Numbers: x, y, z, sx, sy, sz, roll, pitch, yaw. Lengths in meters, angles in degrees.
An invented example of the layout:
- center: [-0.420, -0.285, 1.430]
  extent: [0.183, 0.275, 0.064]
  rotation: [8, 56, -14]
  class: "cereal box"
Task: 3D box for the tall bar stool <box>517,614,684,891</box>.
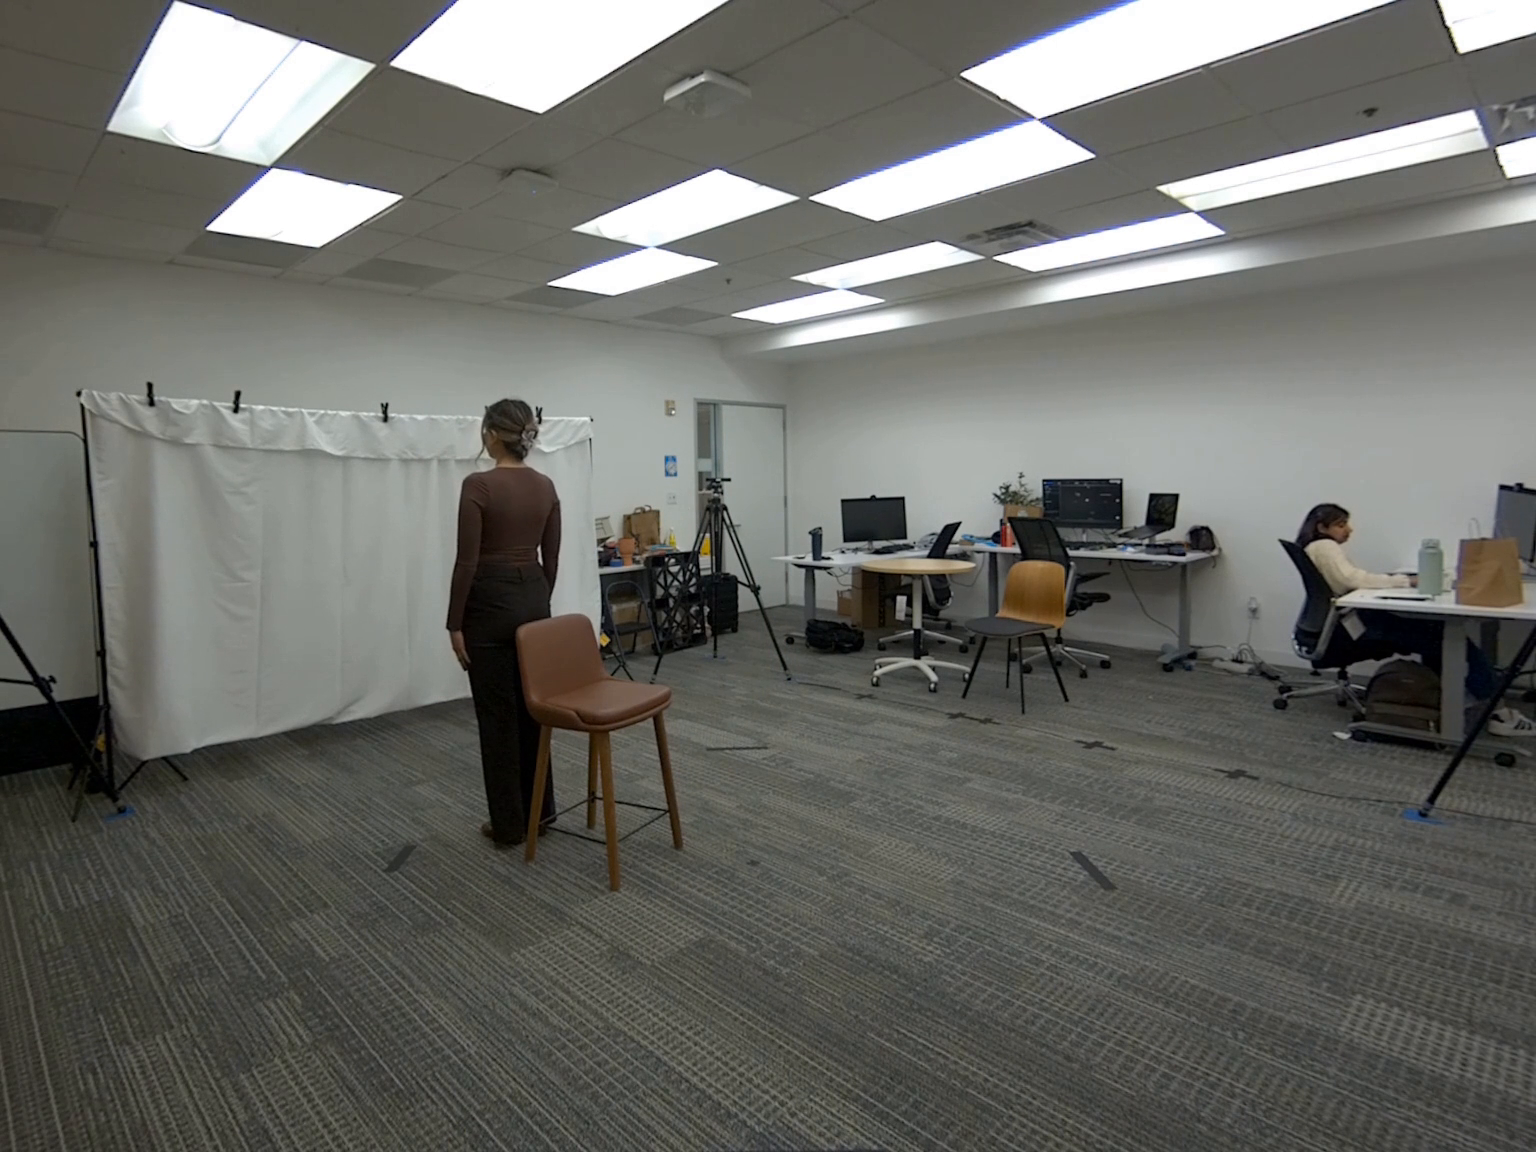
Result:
- center: [-0.628, 0.607, 3.171]
  extent: [0.480, 0.888, 0.446]
  rotation: [-1, 3, 32]
  class: "tall bar stool"
